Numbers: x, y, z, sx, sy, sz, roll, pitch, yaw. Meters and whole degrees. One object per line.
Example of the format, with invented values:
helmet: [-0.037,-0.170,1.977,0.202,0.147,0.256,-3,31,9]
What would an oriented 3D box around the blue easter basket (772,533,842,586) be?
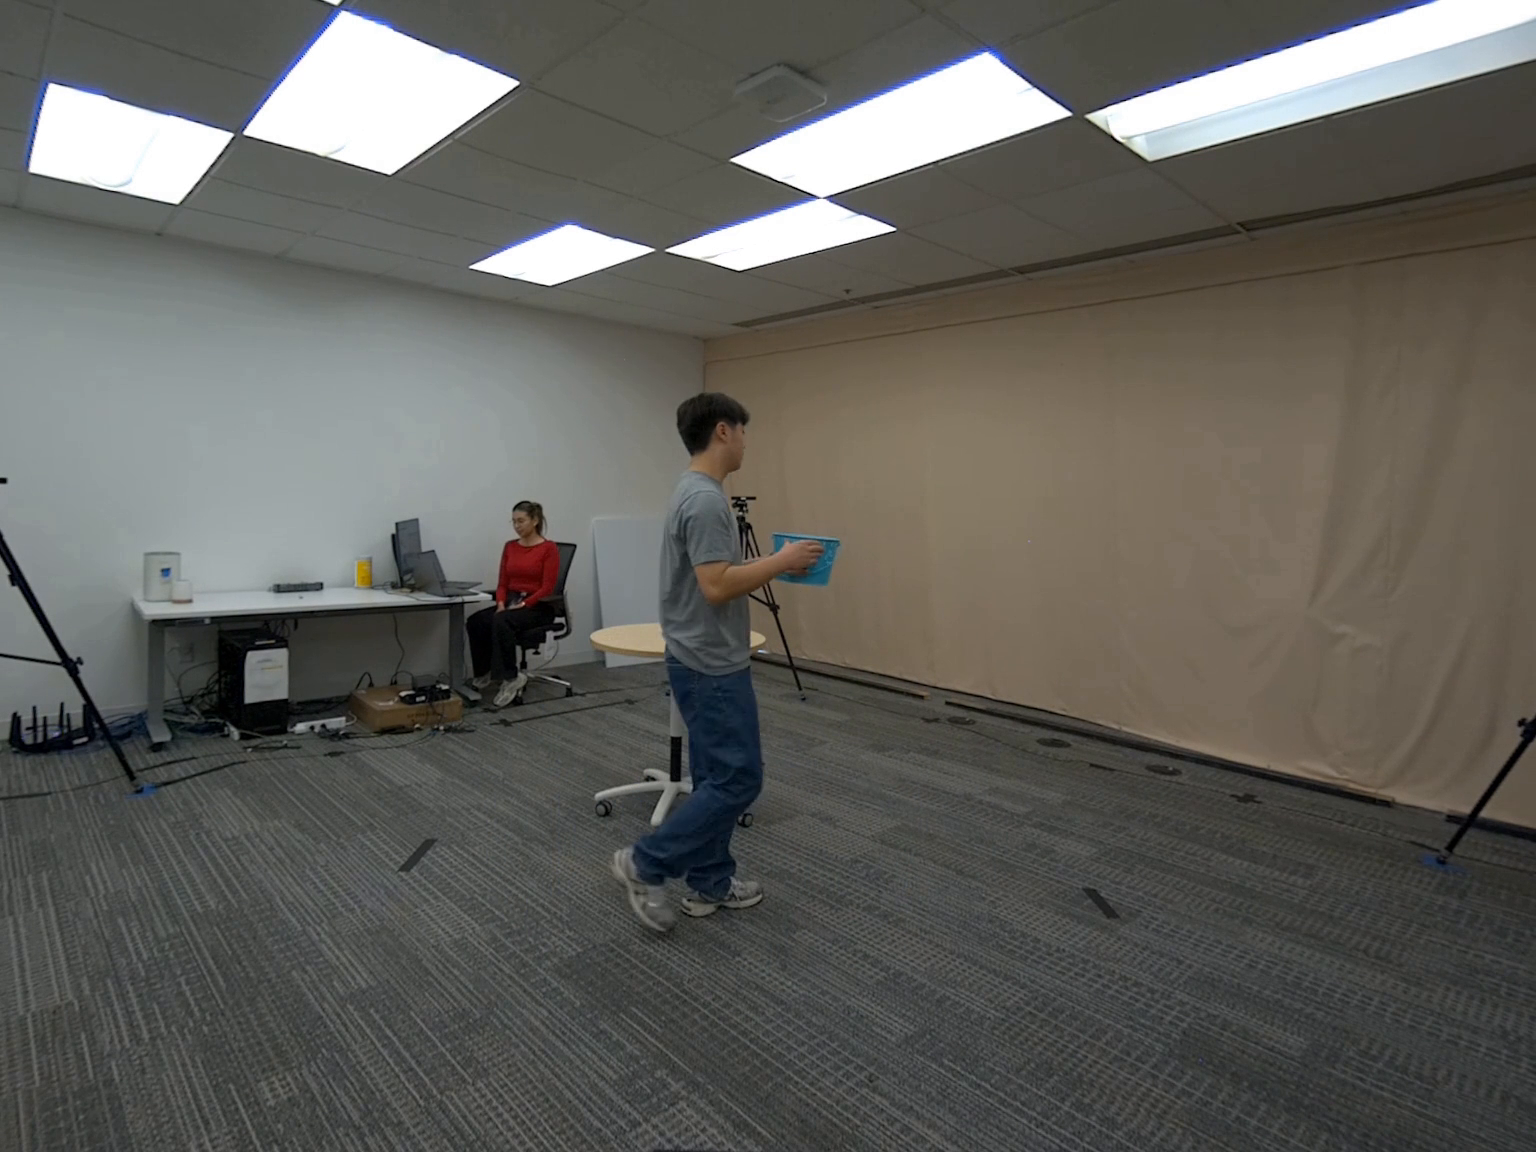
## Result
blue easter basket: [0.104,-0.053,2.790,0.243,0.155,0.244,5,3,-2]
